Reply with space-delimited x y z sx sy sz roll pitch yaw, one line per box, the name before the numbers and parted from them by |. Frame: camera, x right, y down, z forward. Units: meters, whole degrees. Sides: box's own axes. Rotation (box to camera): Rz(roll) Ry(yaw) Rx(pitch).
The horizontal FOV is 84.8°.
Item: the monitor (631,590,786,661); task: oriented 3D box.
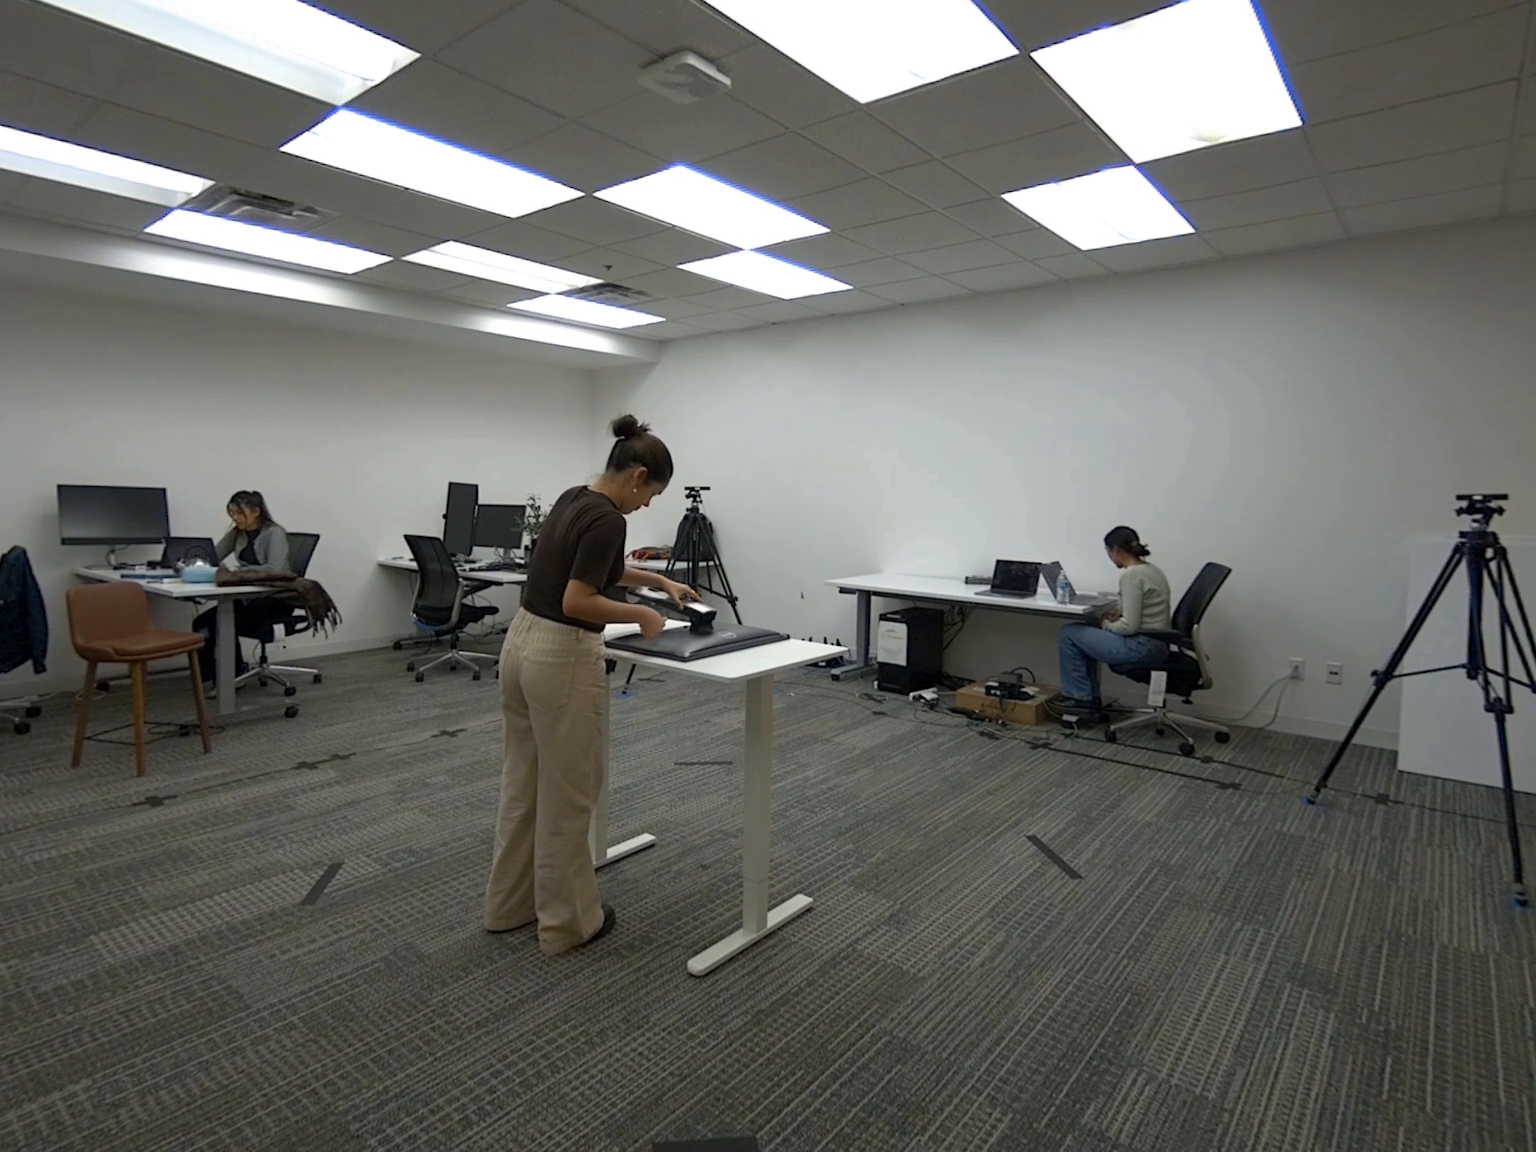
monitor | -0.296 0.154 2.833 0.543 0.185 0.524 22 20 36
